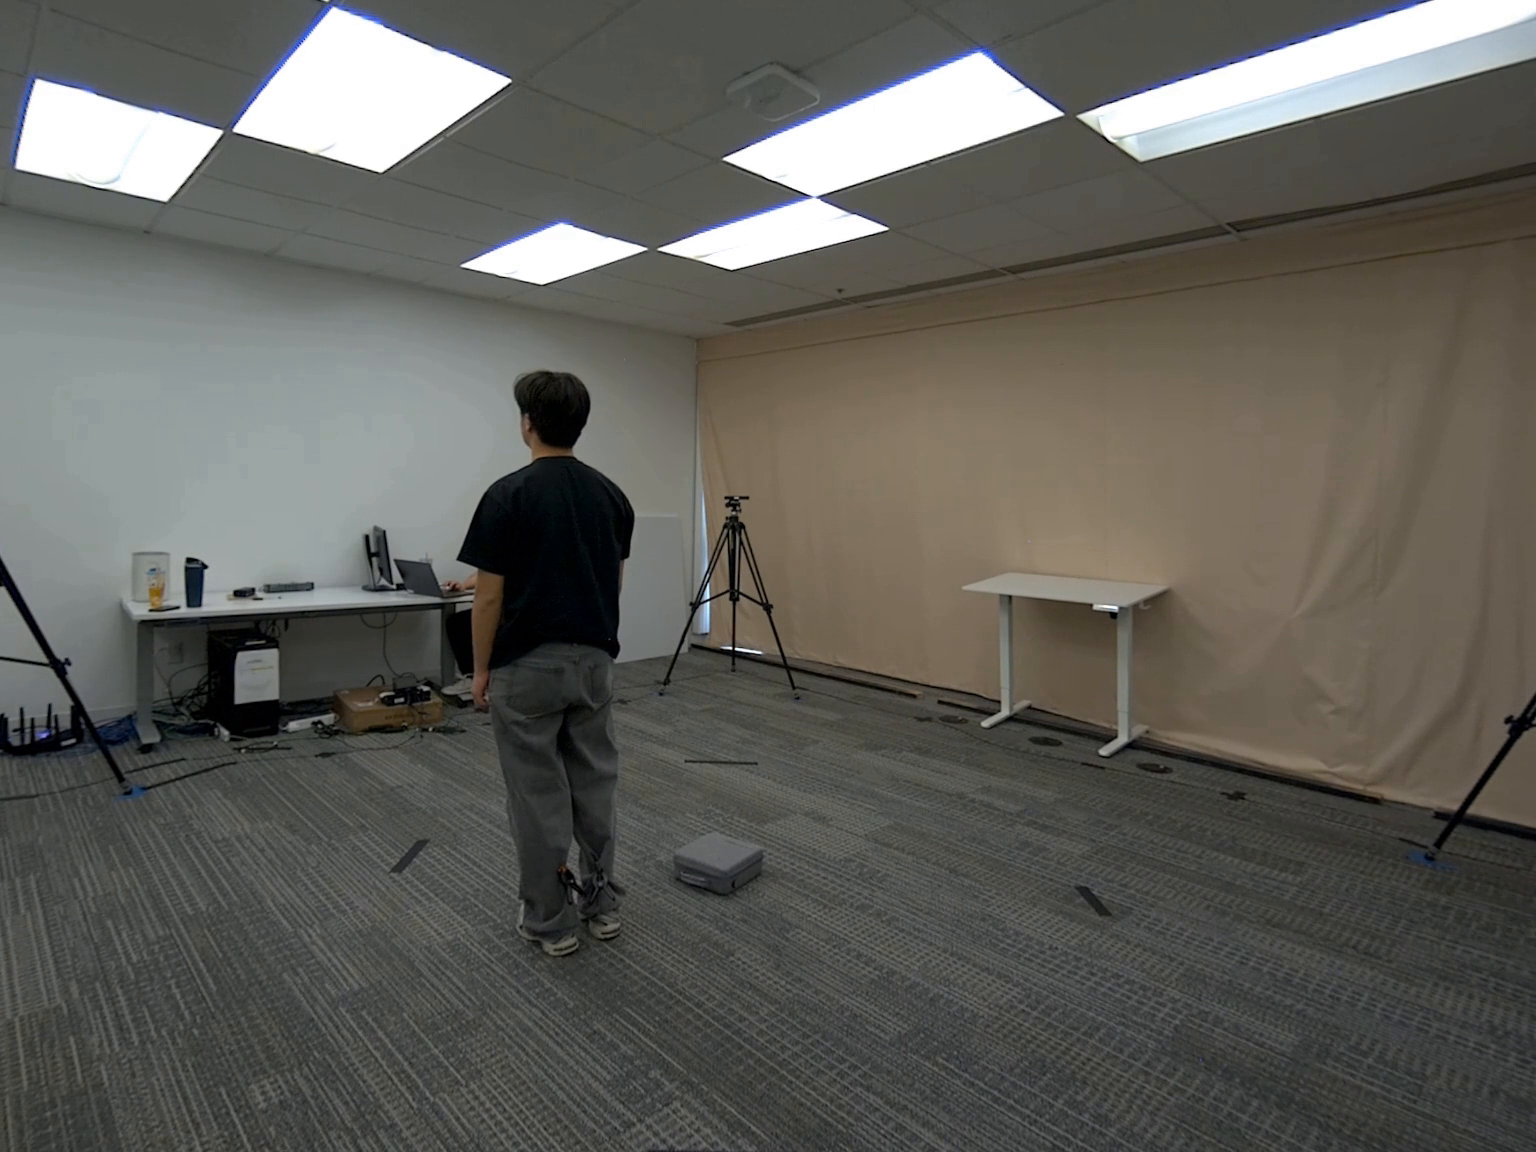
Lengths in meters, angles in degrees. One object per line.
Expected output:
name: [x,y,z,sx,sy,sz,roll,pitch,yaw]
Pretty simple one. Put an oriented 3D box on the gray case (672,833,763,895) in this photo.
gray case: [-0.193,1.052,3.080,0.269,0.103,0.281,5,7,35]
